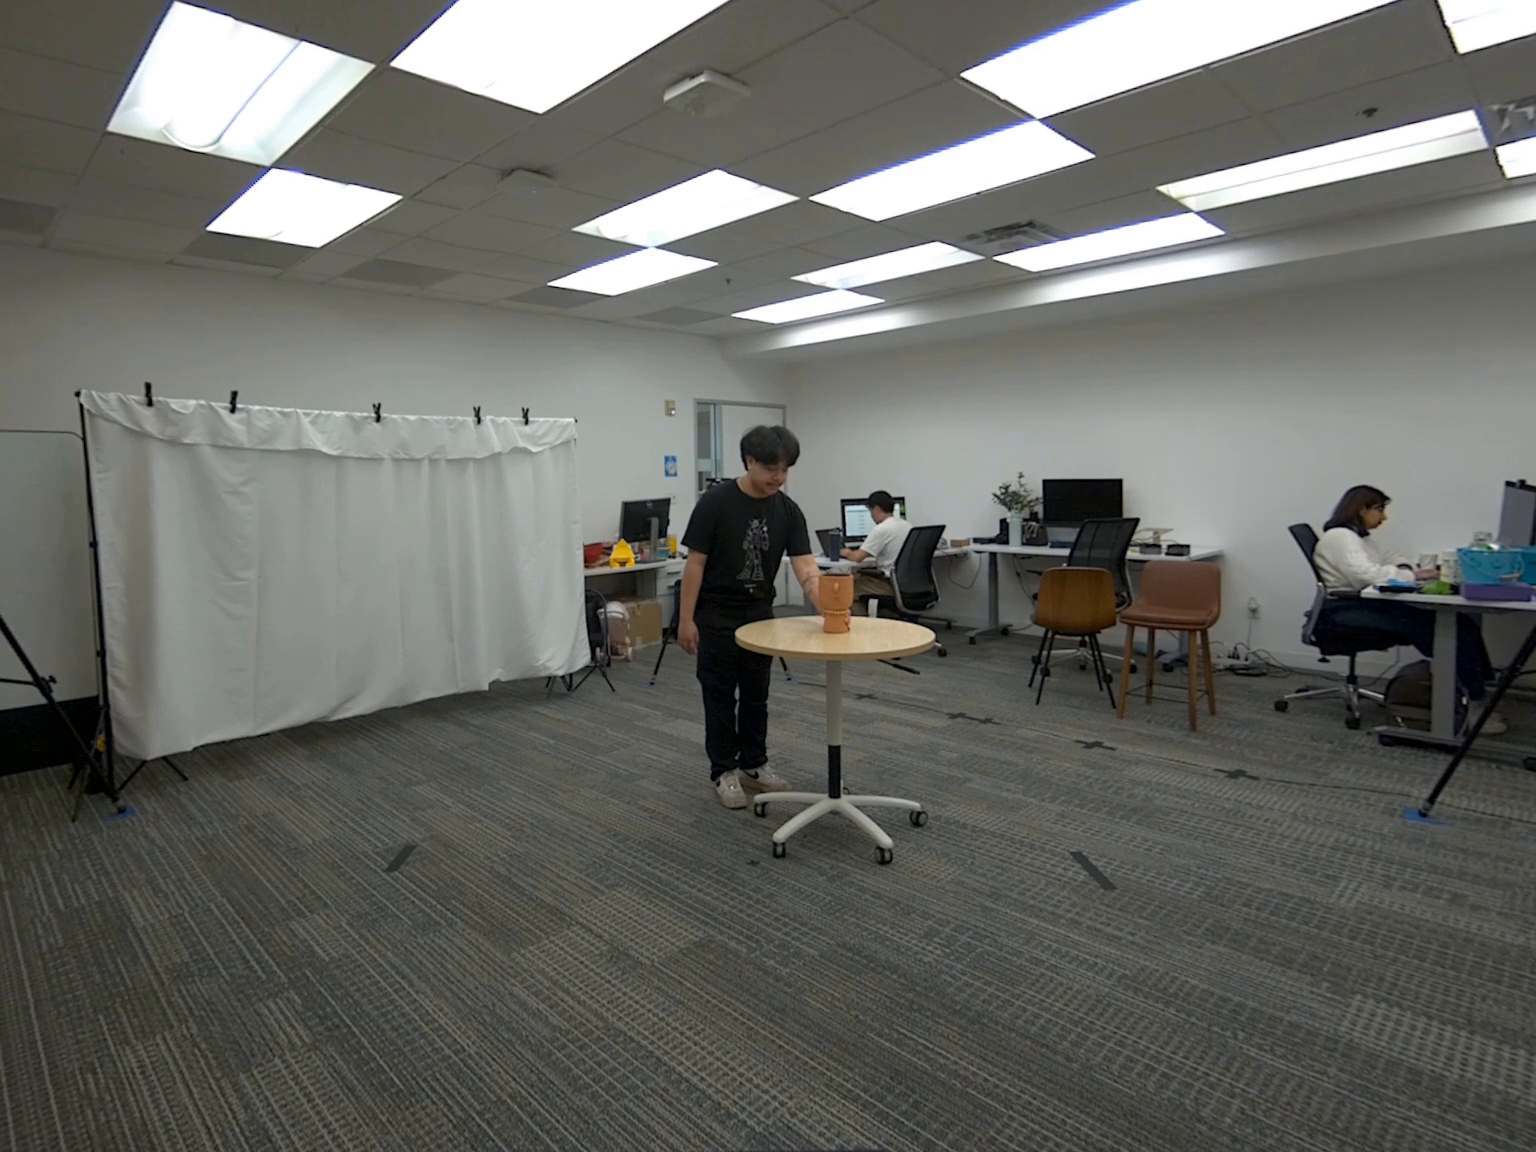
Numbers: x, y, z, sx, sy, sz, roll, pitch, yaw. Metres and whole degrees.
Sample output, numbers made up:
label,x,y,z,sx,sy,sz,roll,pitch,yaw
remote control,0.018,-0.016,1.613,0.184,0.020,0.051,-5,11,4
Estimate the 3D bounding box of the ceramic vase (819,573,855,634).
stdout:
label,x,y,z,sx,sy,sz,roll,pitch,yaw
ceramic vase,0.262,0.106,3.334,0.139,0.219,0.155,3,7,44
